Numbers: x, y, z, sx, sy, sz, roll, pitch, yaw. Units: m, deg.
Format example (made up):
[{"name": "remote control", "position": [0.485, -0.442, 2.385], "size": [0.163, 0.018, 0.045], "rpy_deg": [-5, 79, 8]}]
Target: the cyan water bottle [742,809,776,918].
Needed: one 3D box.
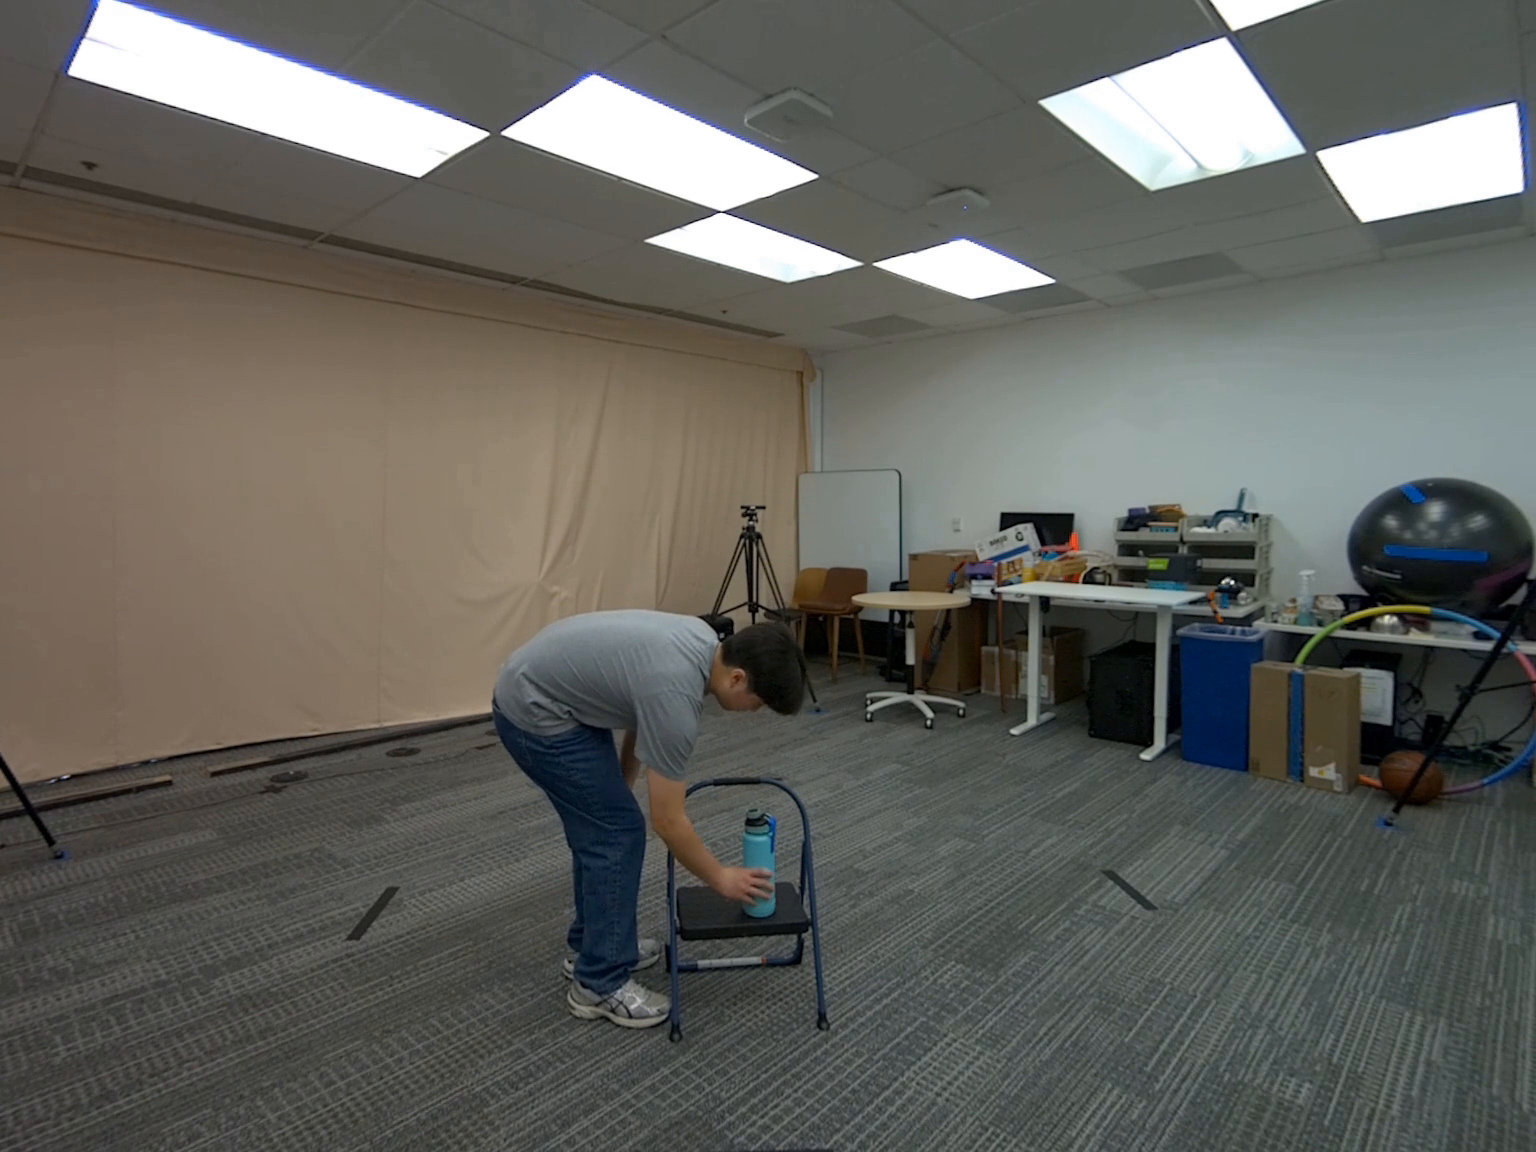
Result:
[{"name": "cyan water bottle", "position": [-0.018, 0.796, 2.341], "size": [0.092, 0.282, 0.093], "rpy_deg": [1, 7, -2]}]
